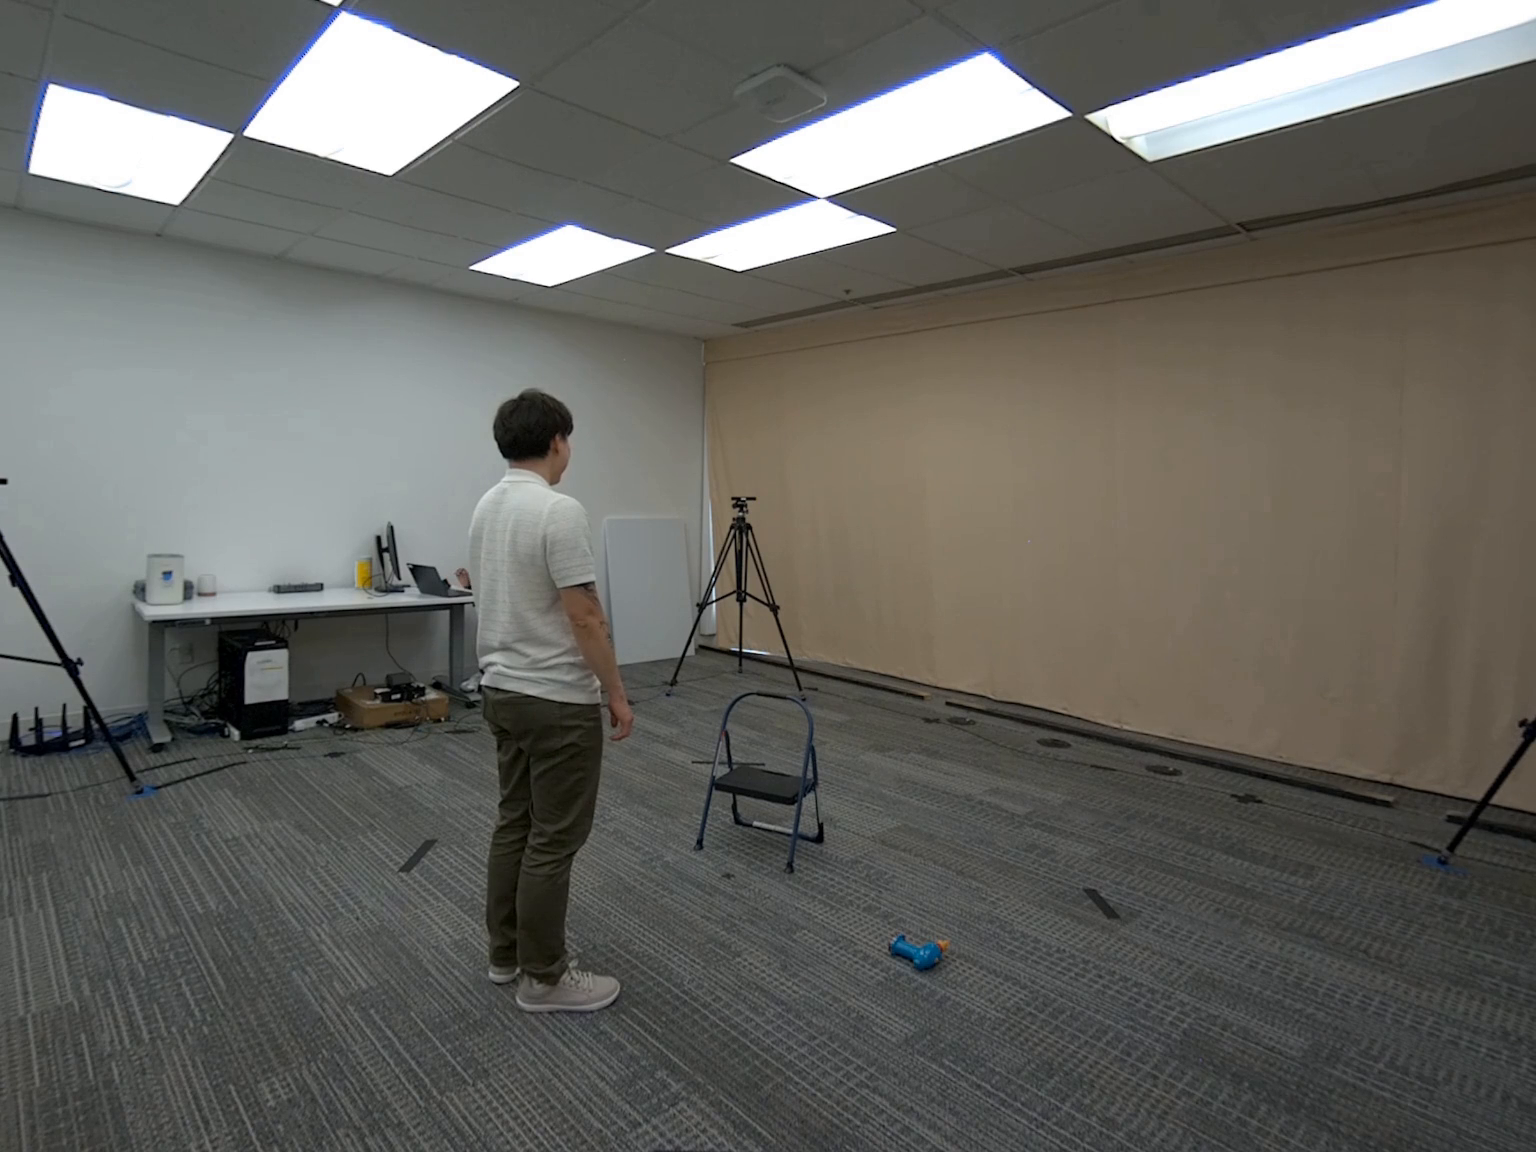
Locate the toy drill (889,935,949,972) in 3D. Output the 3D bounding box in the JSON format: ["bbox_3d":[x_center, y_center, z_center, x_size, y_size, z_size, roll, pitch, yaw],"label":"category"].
[{"bbox_3d":[0.468,1.143,2.571,0.166,0.061,0.150,-10,11,-39],"label":"toy drill"}]
